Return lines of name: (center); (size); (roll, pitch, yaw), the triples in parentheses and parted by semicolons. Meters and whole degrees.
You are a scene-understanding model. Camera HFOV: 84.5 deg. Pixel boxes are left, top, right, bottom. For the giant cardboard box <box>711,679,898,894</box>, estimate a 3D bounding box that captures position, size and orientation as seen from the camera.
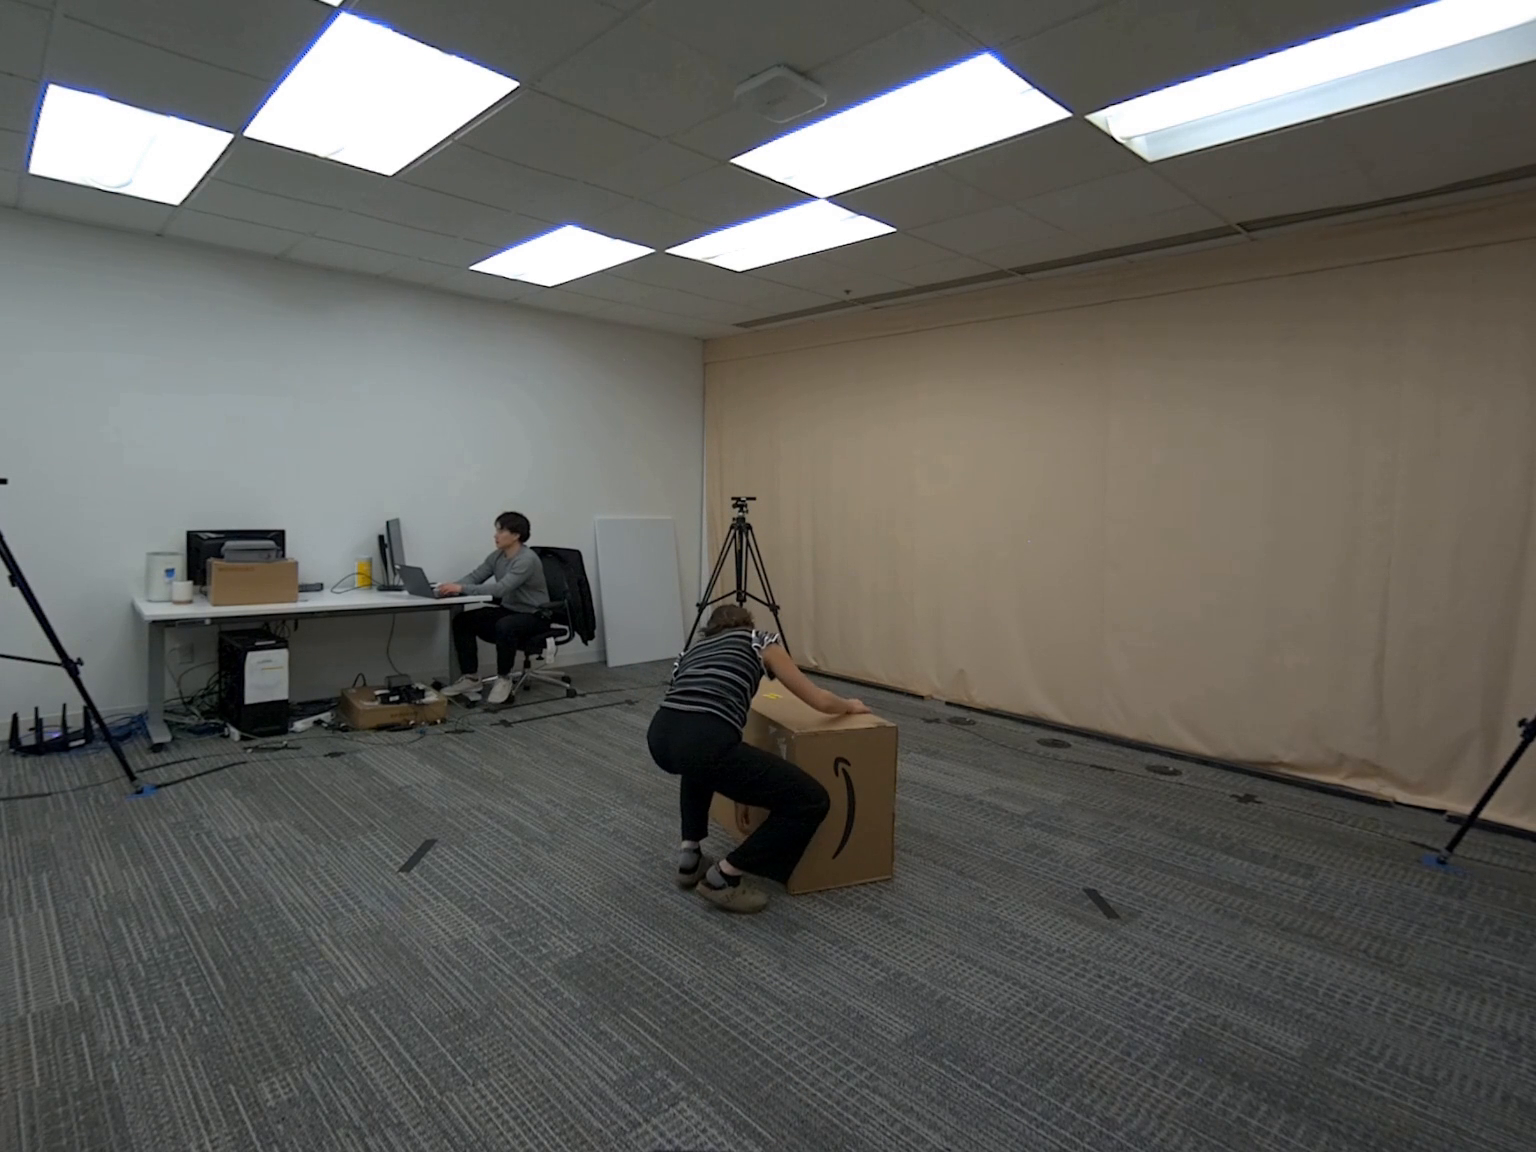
giant cardboard box: (0.064, 0.789, 3.493); (0.419, 0.576, 1.045); (1, 4, -23)
